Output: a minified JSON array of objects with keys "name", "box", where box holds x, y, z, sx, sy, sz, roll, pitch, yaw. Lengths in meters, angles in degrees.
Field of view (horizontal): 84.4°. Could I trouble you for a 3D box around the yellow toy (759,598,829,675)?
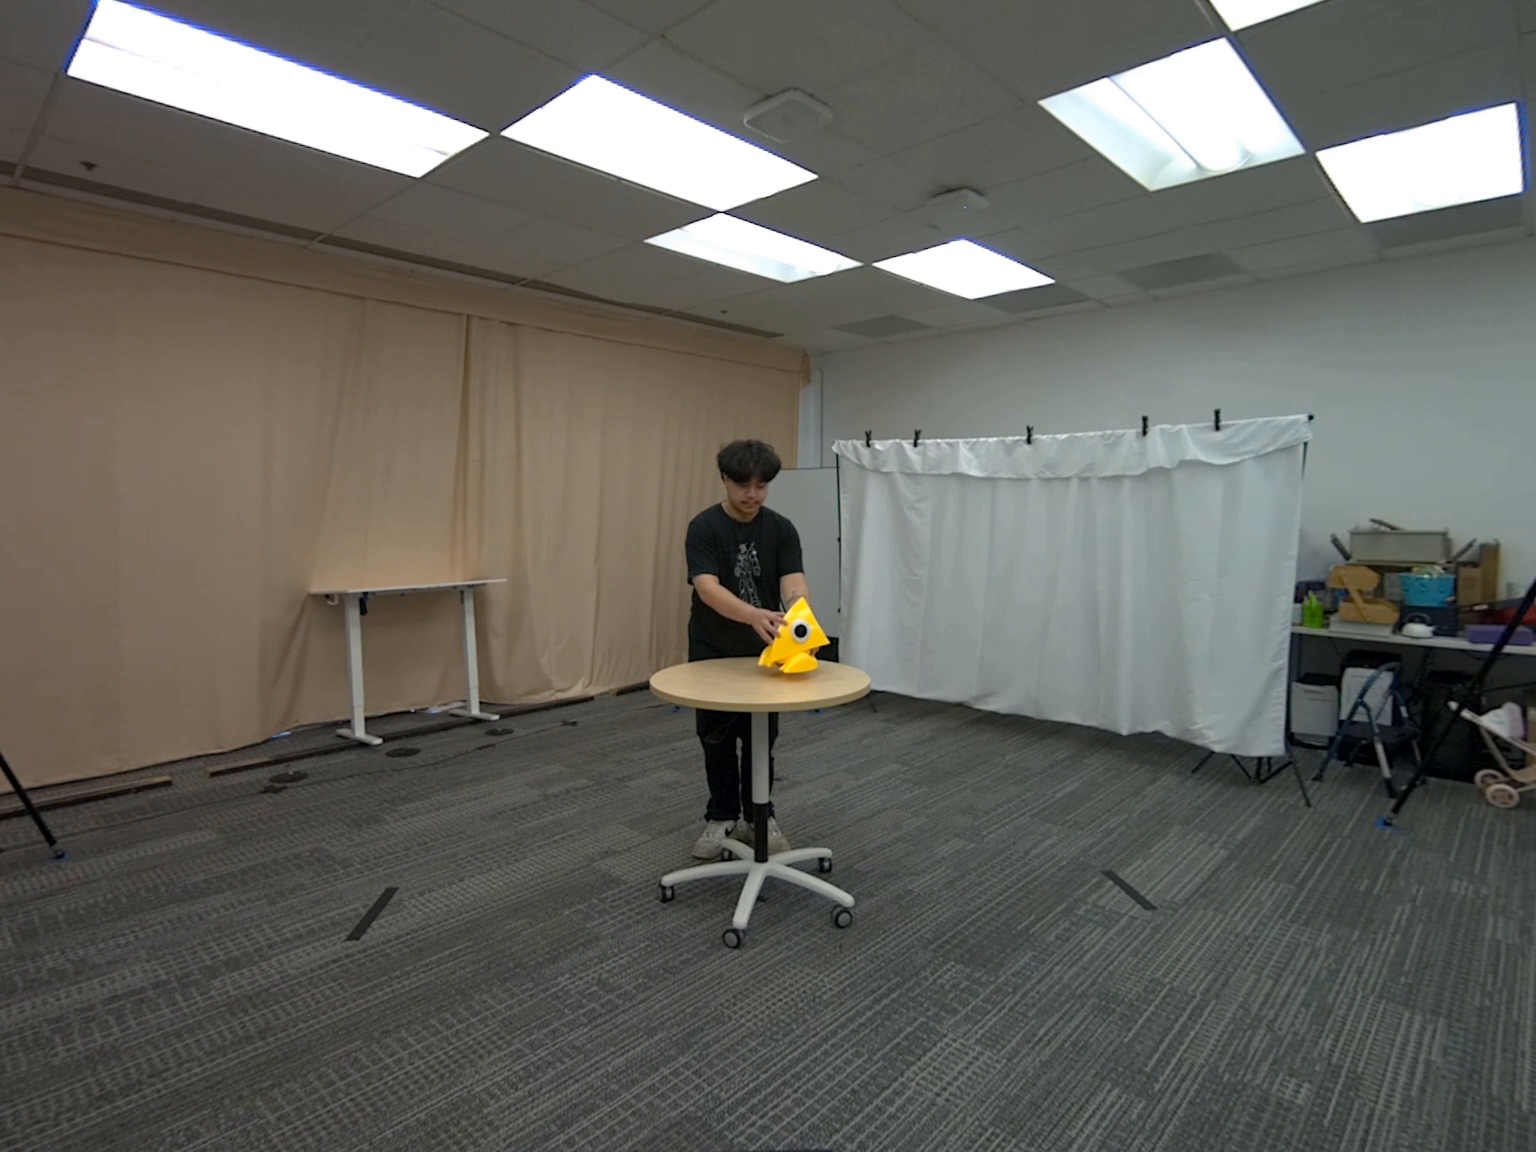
[{"name":"yellow toy","box":[0.083,0.196,2.931,0.187,0.229,0.212,-7,10,-39]}]
